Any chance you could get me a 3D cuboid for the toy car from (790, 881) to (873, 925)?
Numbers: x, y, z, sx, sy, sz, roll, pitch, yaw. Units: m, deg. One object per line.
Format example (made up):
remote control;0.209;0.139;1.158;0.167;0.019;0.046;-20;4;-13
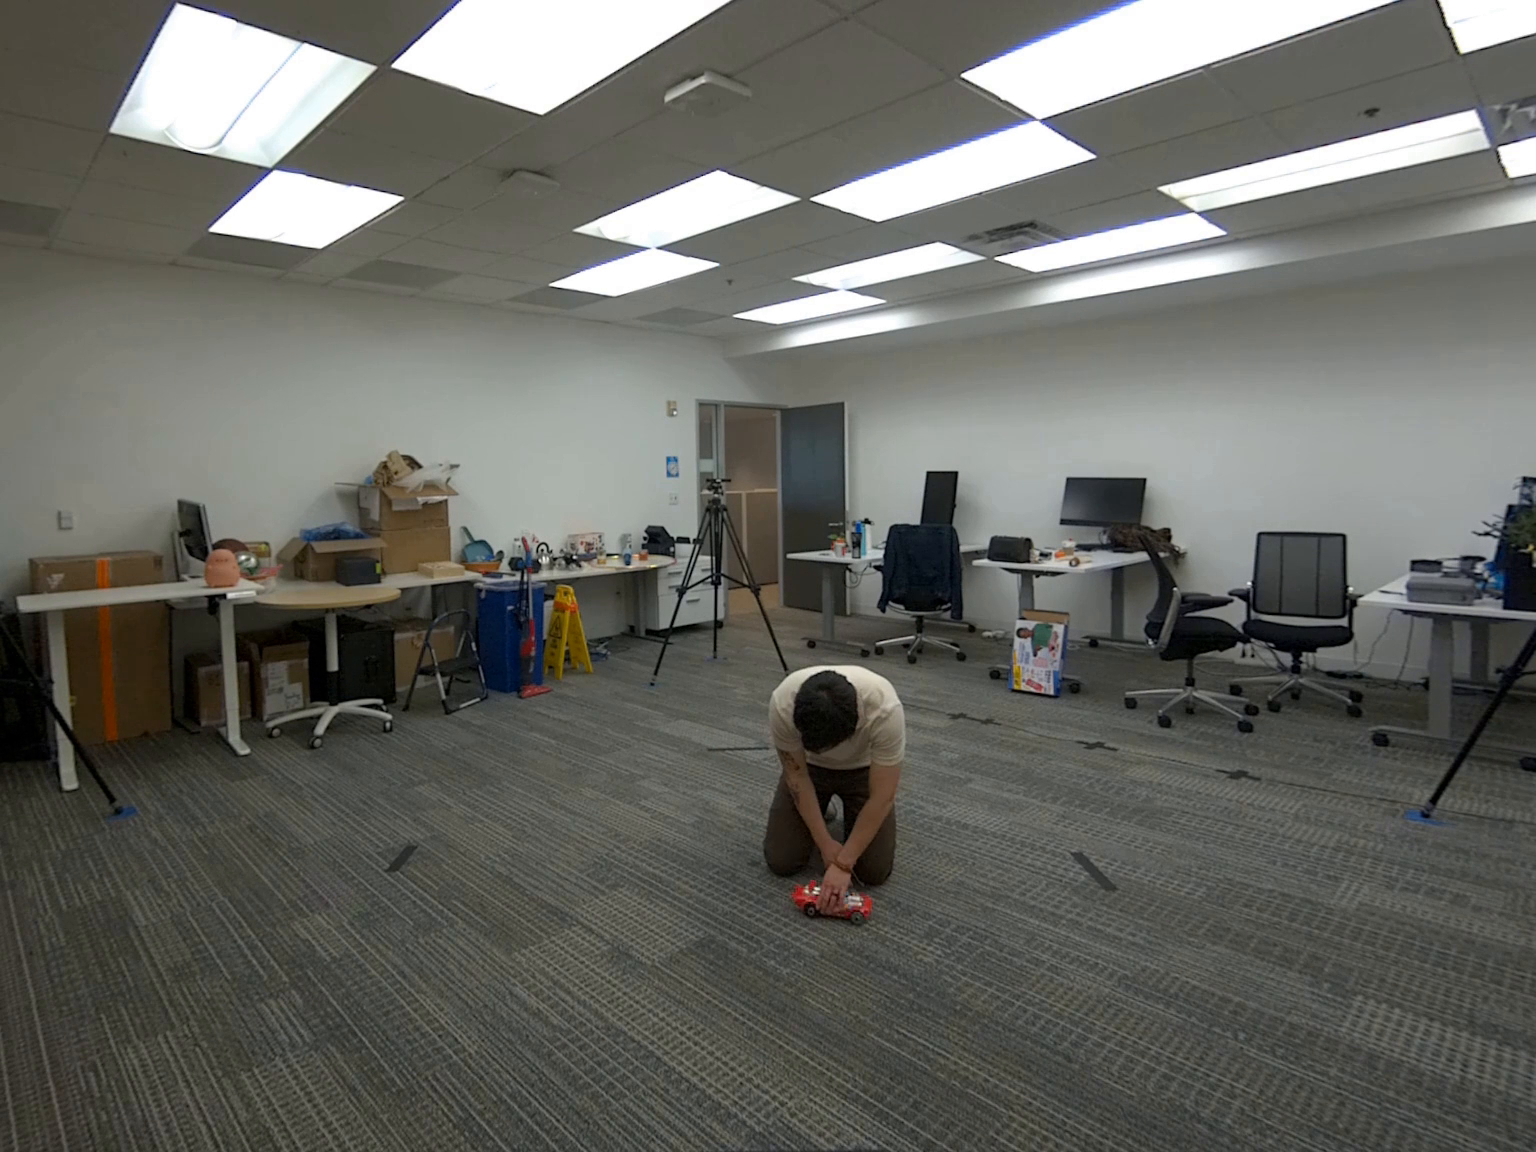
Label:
toy car;0.196;1.053;2.752;0.258;0.082;0.129;10;10;13
